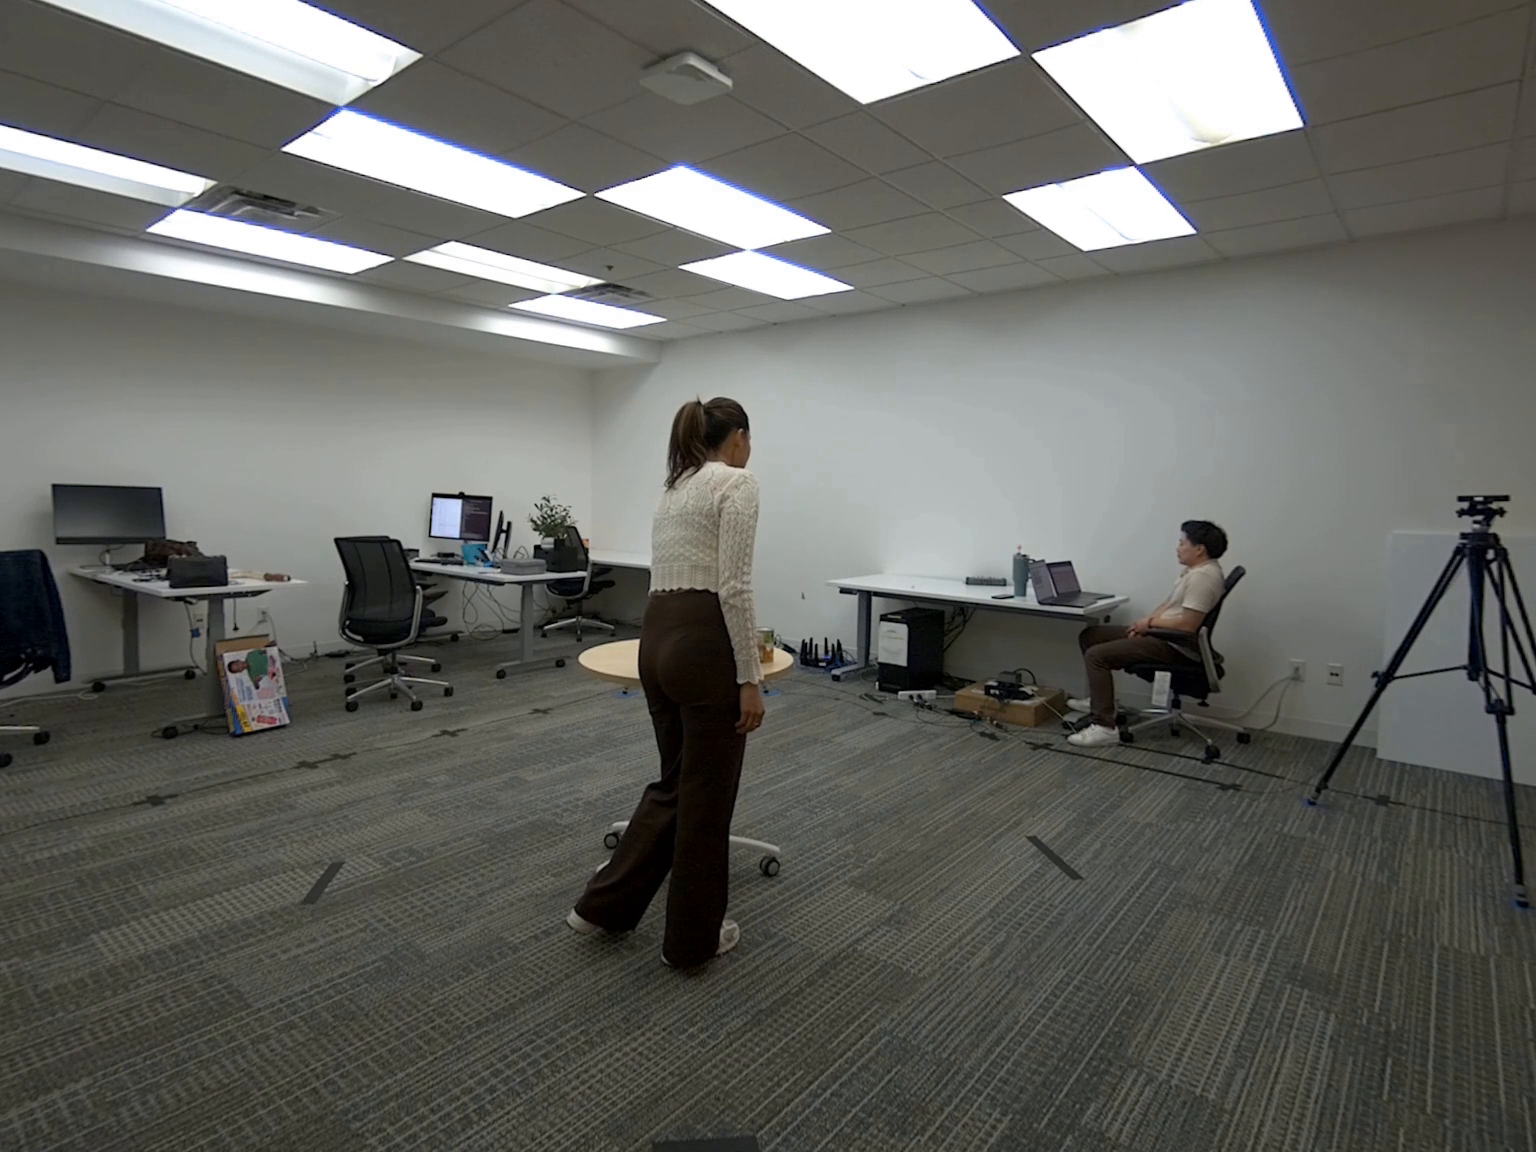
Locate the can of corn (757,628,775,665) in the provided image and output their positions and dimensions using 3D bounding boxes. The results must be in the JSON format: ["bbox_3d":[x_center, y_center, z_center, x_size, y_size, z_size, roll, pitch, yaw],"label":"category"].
[{"bbox_3d":[-0.028,0.236,2.993,0.074,0.111,0.074,-1,2,-2],"label":"can of corn"}]
